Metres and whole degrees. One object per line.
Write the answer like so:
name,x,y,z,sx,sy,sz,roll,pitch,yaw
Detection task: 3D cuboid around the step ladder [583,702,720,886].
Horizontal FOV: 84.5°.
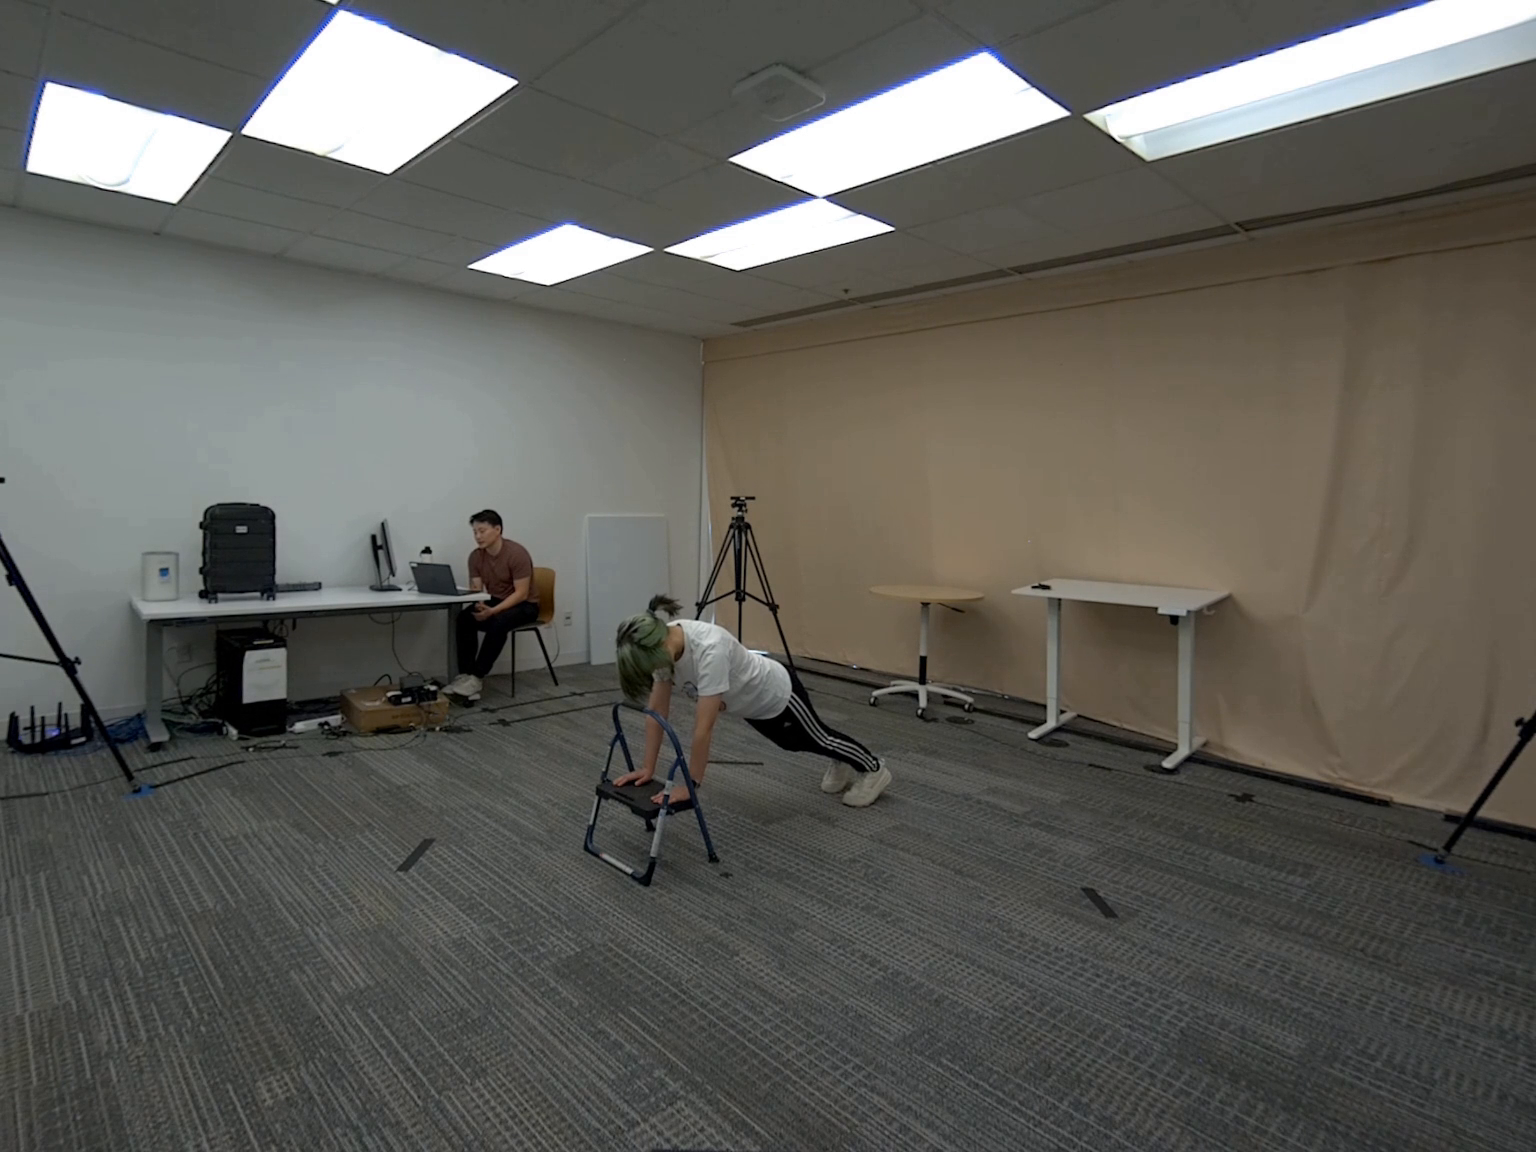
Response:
step ladder,-0.457,0.783,3.241,0.341,0.605,0.442,-2,5,-44
